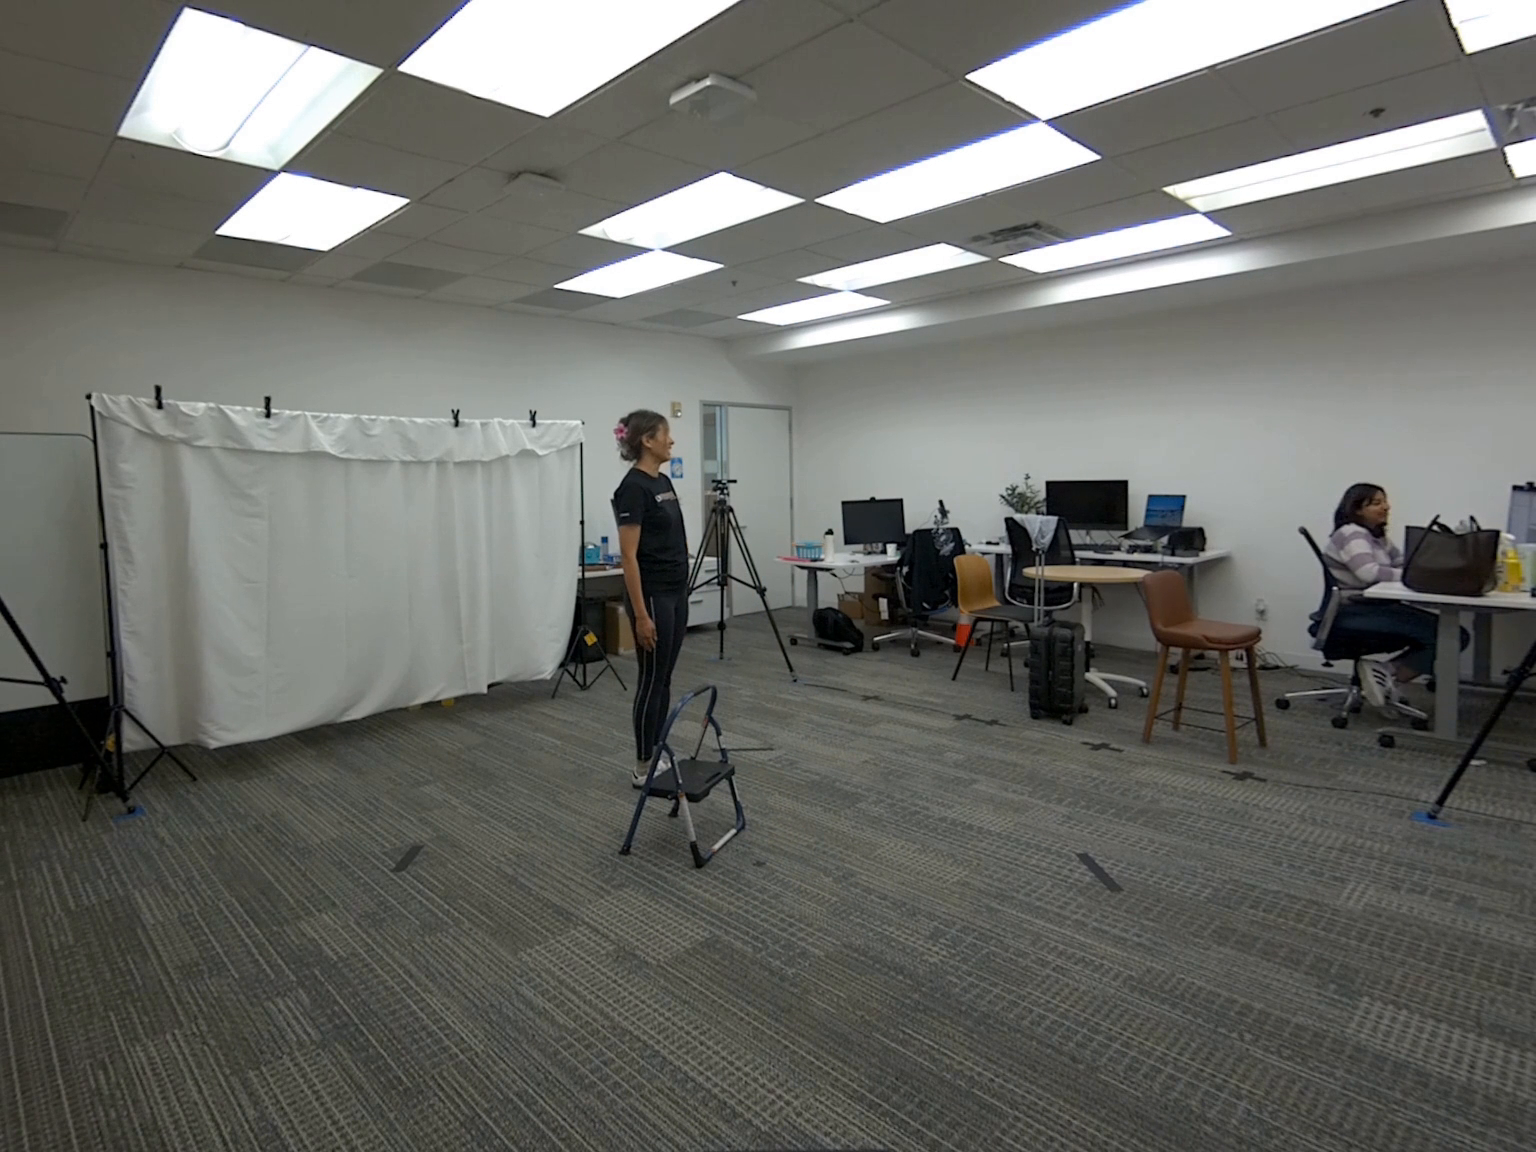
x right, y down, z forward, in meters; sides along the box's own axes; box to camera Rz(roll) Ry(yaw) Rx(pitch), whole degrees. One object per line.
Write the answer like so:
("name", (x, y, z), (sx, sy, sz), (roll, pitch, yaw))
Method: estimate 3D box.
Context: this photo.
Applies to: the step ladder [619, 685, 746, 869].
("step ladder", (-0.327, 0.724, 3.312), (0.357, 0.604, 0.423), (0, 4, 23))
